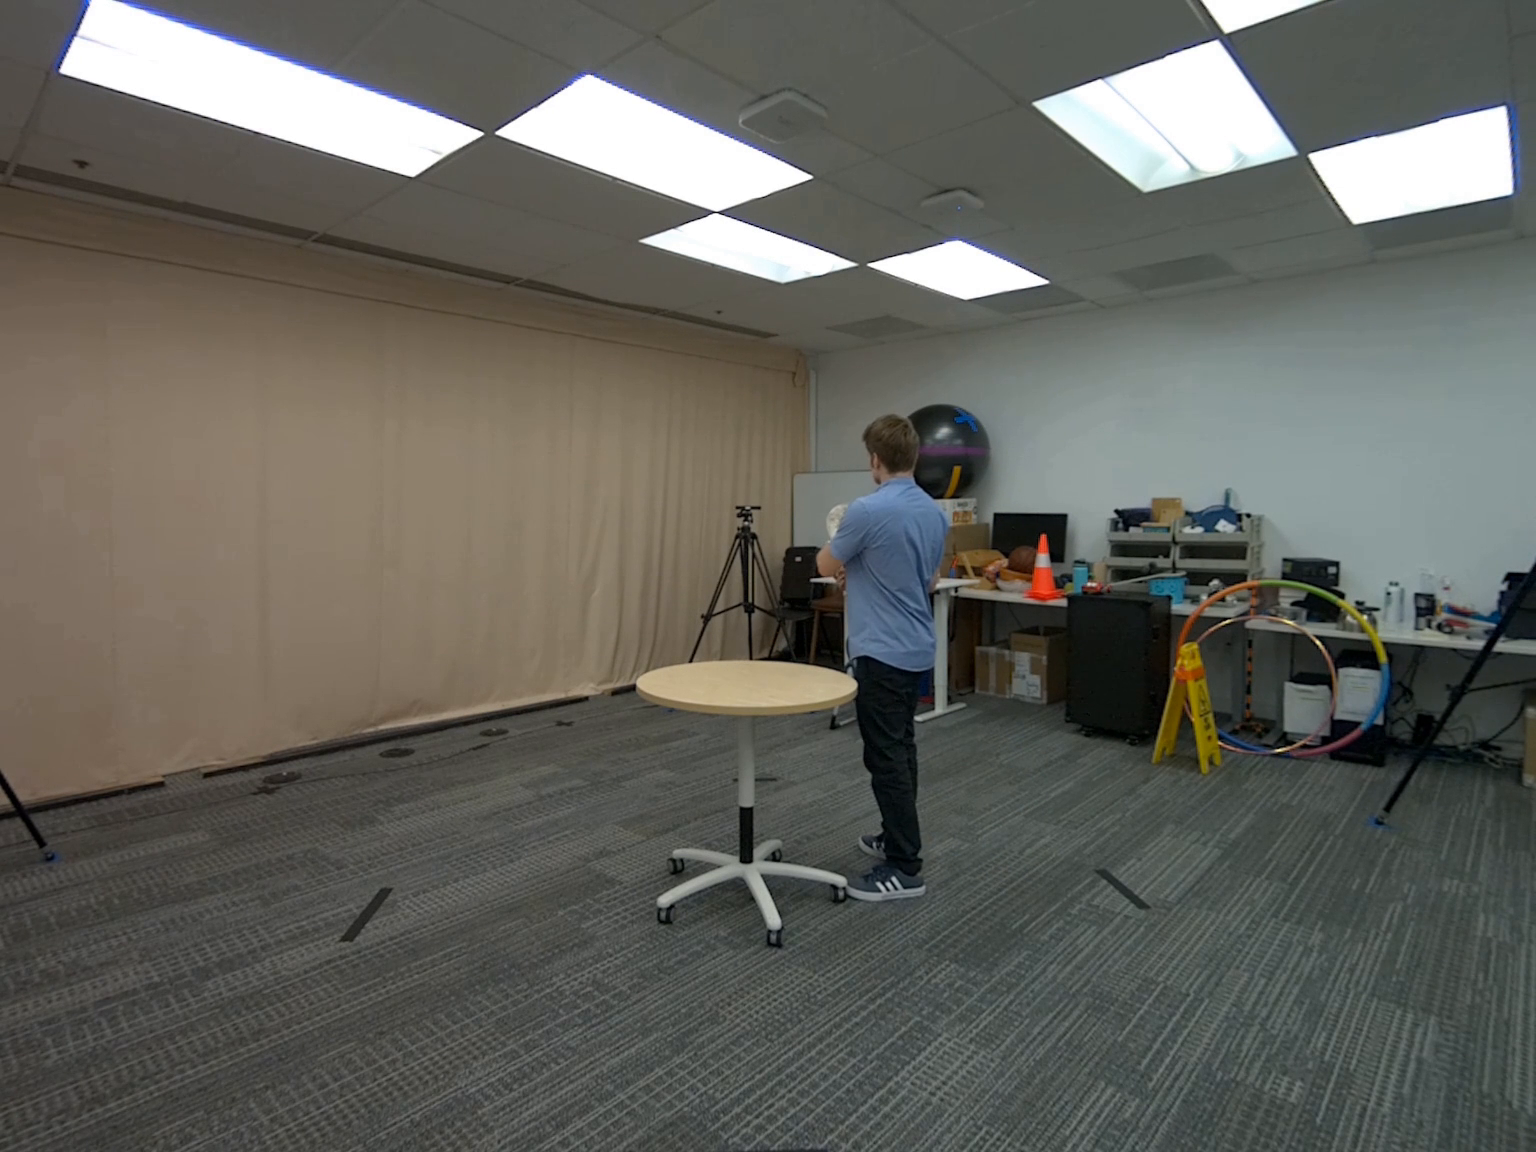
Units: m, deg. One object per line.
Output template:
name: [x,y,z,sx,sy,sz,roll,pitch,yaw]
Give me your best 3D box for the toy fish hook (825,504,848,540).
toy fish hook: [0.379,-0.120,3.500,0.227,0.516,0.047,-7,-40,8]
